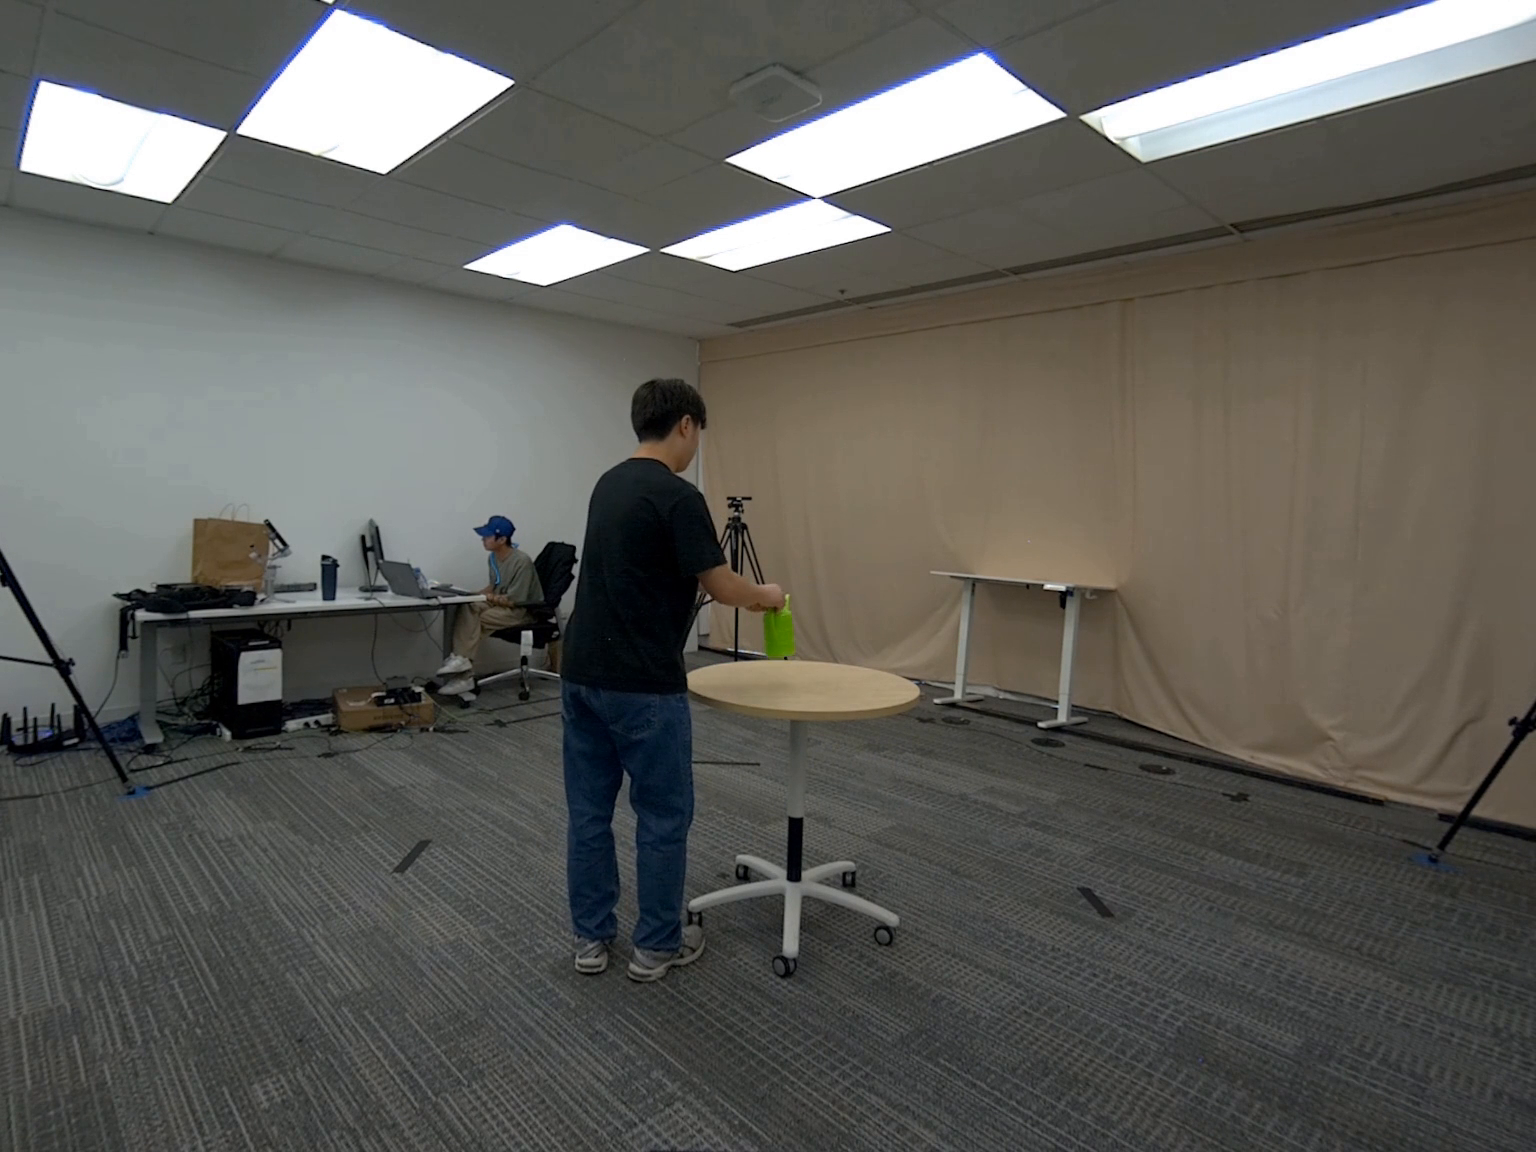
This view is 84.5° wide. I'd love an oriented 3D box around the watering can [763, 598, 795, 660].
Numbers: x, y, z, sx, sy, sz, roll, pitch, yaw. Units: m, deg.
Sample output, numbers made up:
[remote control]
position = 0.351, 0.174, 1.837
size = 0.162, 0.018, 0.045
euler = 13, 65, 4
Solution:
[watering can]
position = 0.045, 0.164, 2.739
size = 0.100, 0.176, 0.273
euler = -3, 5, 31
